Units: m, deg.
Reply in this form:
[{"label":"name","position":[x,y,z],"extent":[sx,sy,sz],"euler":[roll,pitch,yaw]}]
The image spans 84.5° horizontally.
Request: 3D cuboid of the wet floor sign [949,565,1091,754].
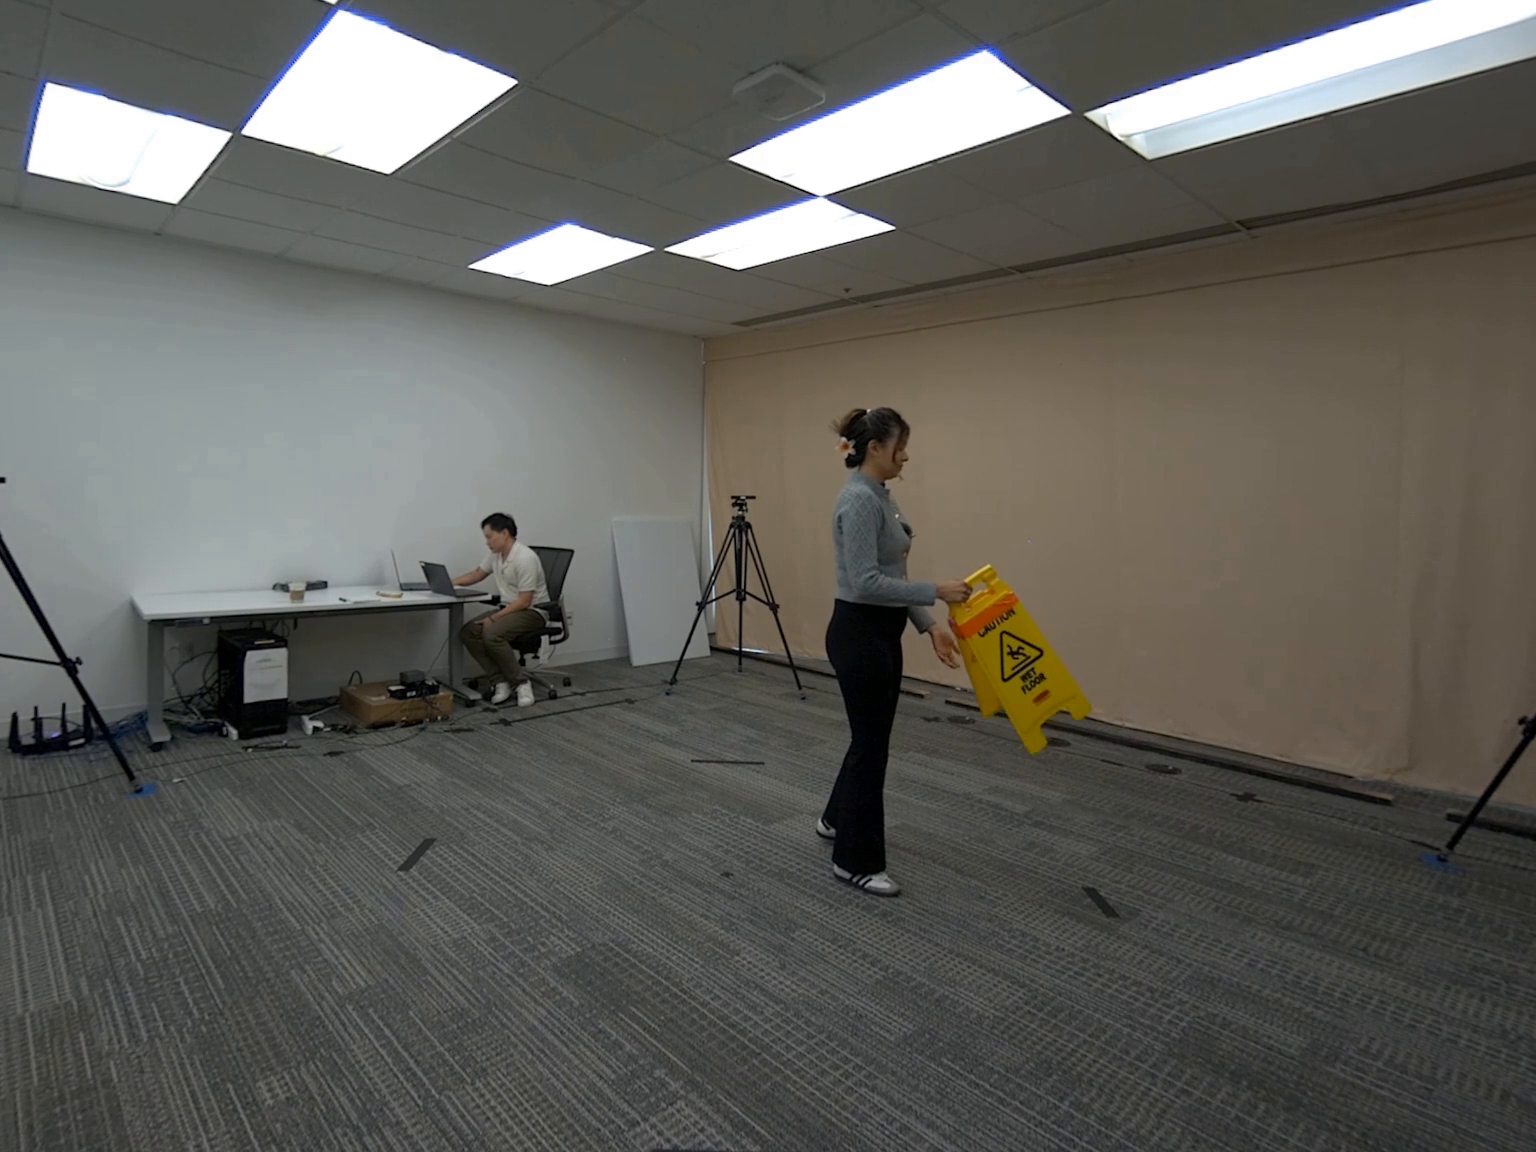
[{"label":"wet floor sign","position":[0.820,0.260,2.969],"extent":[0.282,0.632,0.296],"euler":[-34,23,-6]}]
